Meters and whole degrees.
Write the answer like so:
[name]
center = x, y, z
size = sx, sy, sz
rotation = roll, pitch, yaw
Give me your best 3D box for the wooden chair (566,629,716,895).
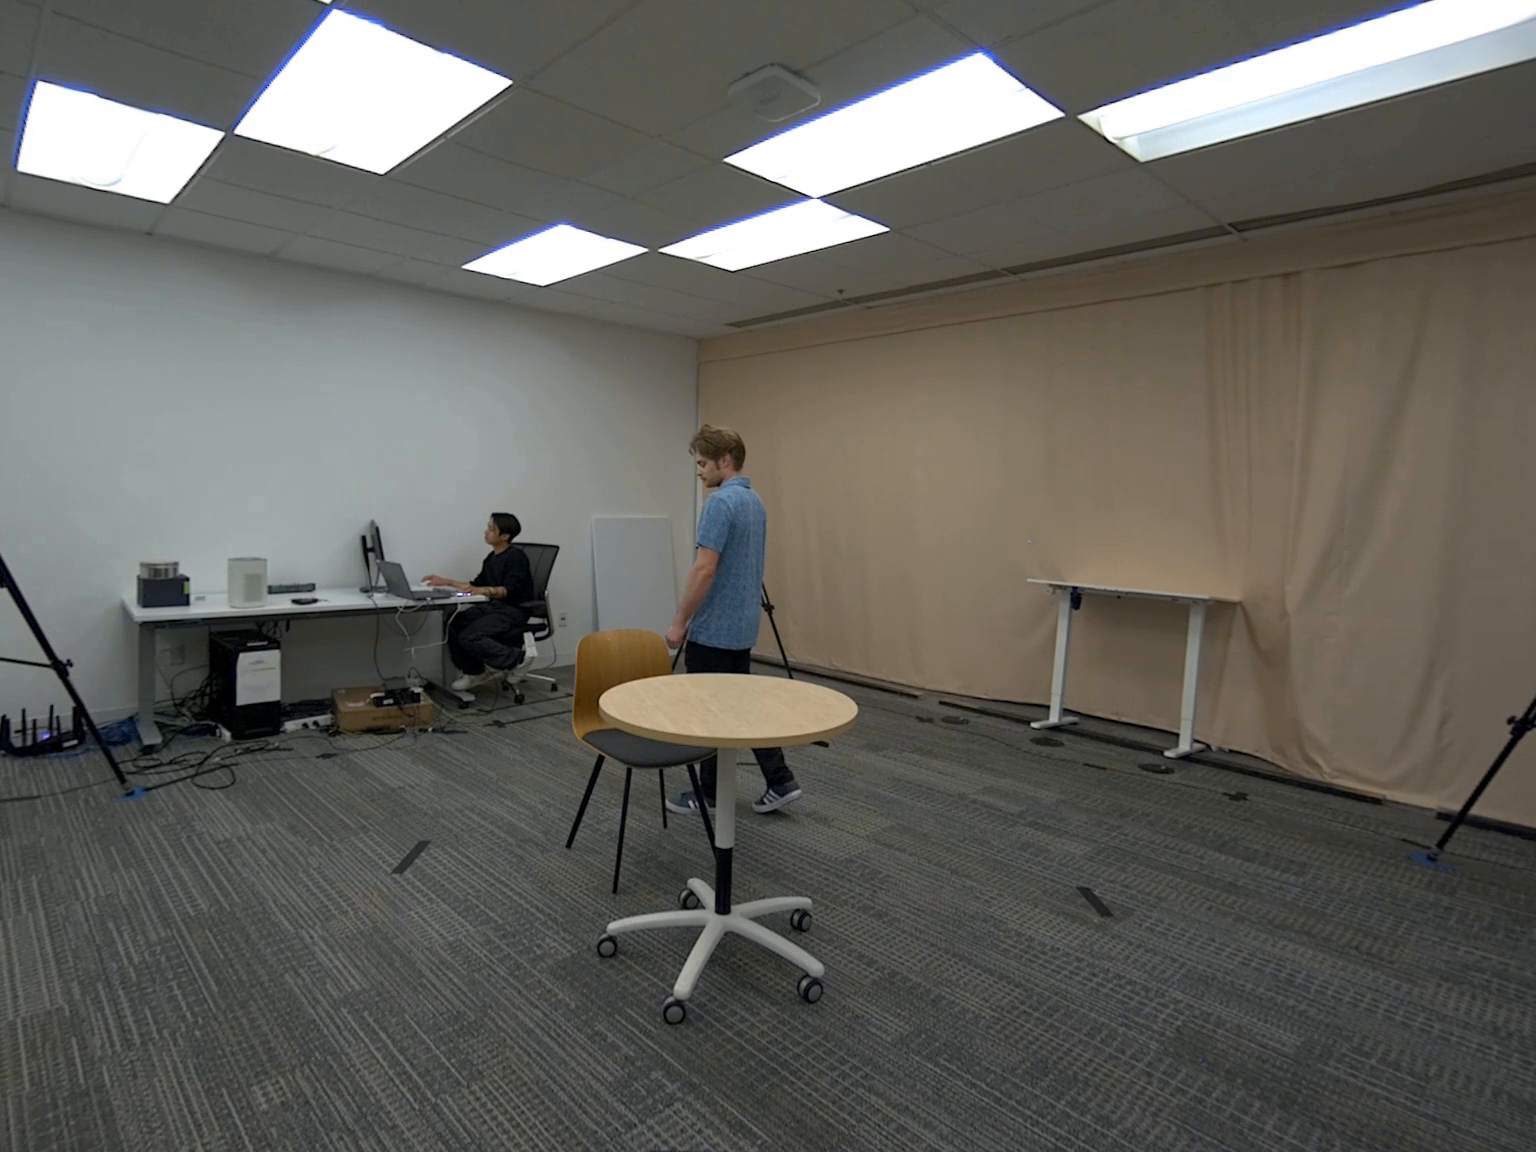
[wooden chair]
center = -0.476, 0.662, 3.214
size = 0.468, 0.878, 0.534
rotation = 0, -1, -34
